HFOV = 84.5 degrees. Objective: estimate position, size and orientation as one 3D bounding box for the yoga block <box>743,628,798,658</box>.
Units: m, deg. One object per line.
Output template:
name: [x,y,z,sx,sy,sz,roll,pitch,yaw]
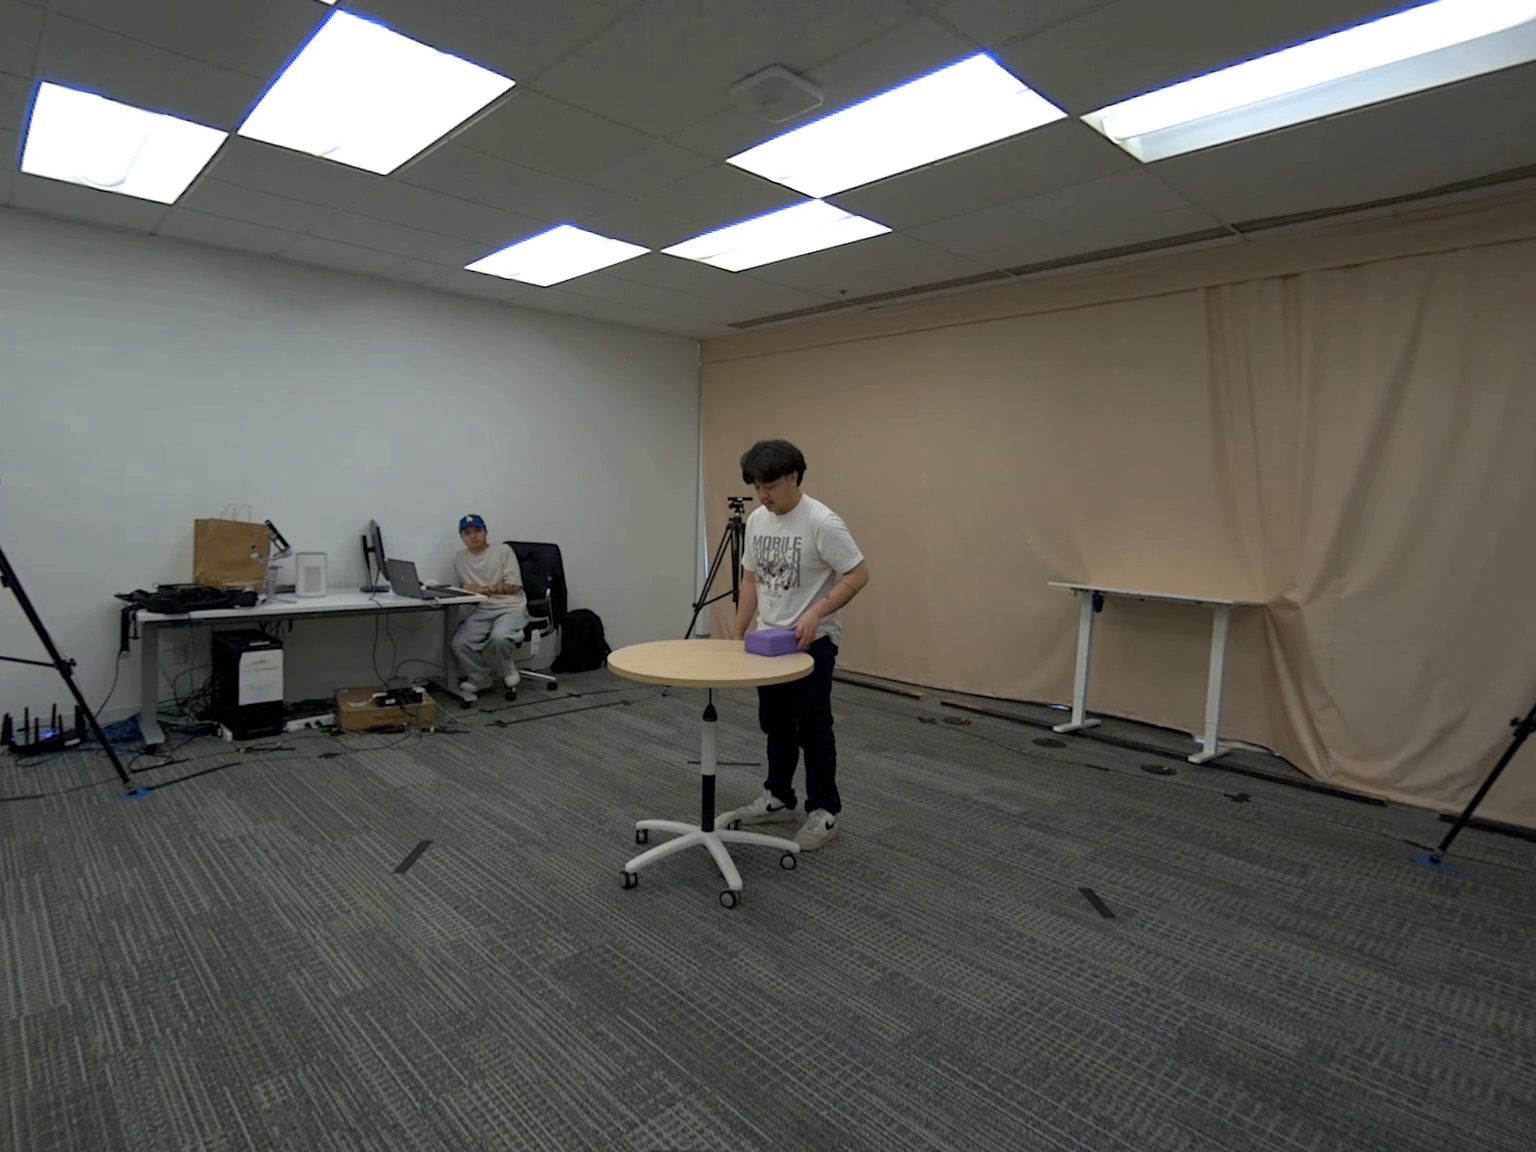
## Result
yoga block: [0.020,0.256,3.279,0.153,0.076,0.224,6,7,42]
